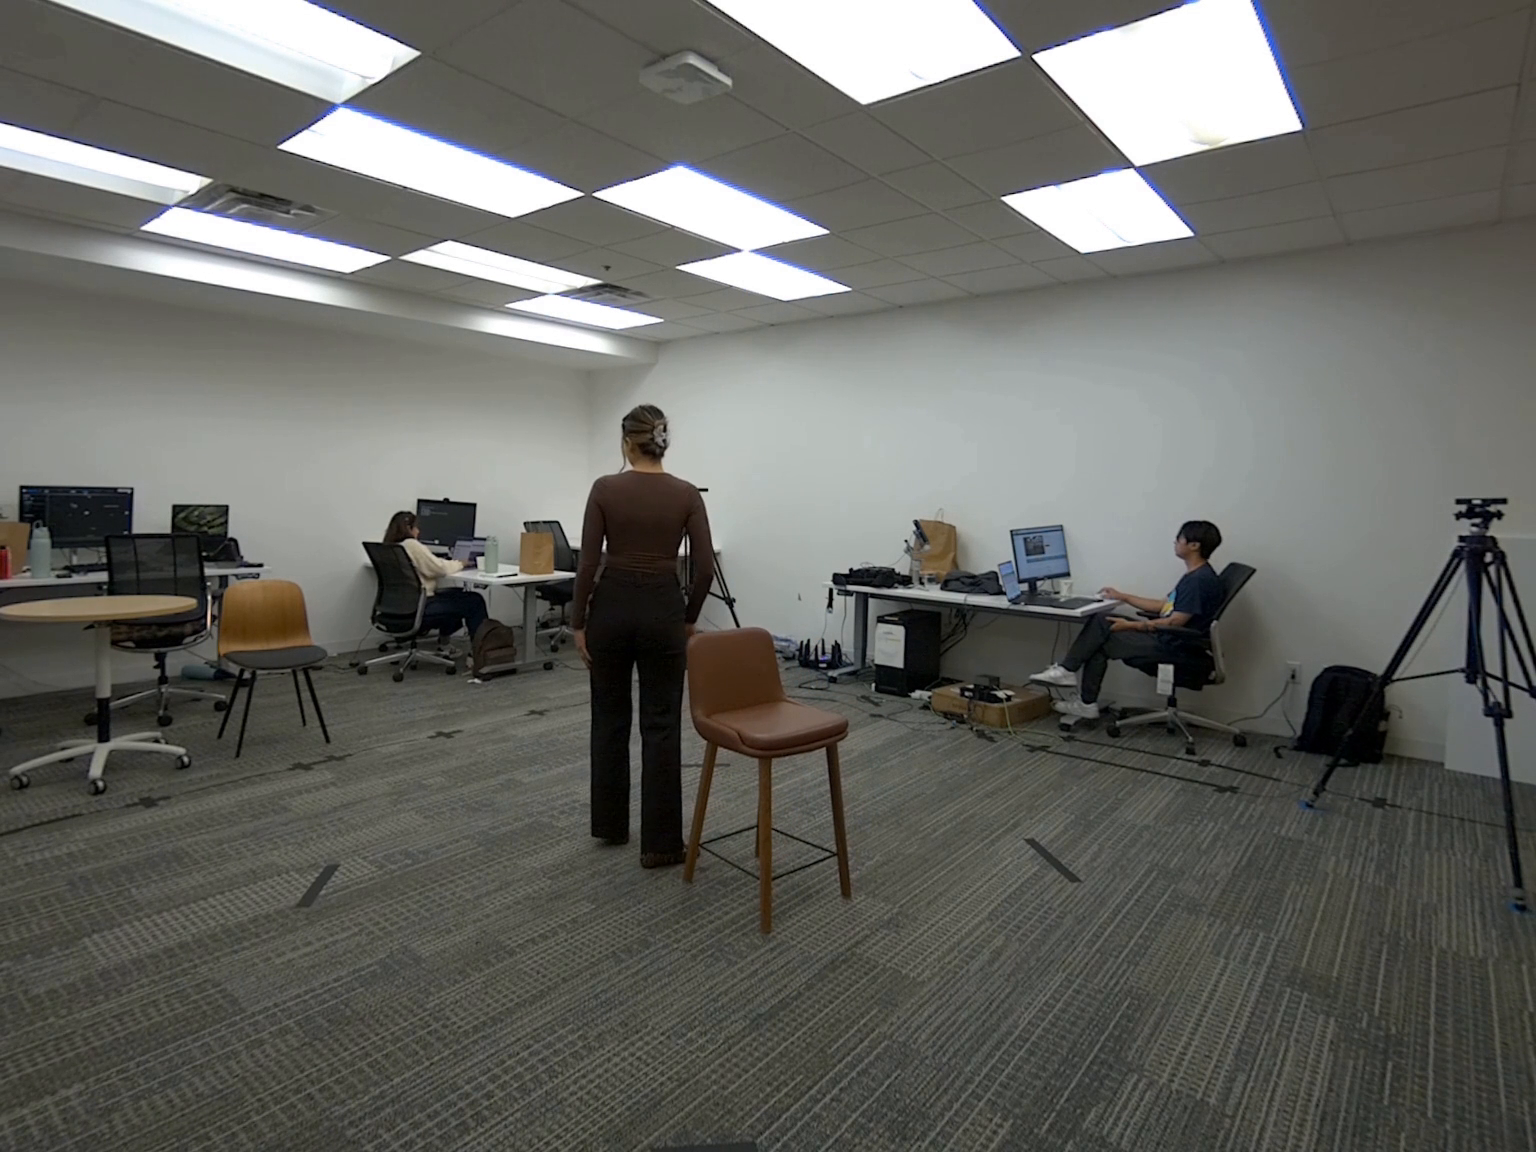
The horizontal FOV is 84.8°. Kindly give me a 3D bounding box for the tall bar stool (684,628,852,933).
[{"bbox_3d":[-0.014,0.652,2.945,0.442,0.889,0.483,-1,2,-42],"label":"tall bar stool"}]
